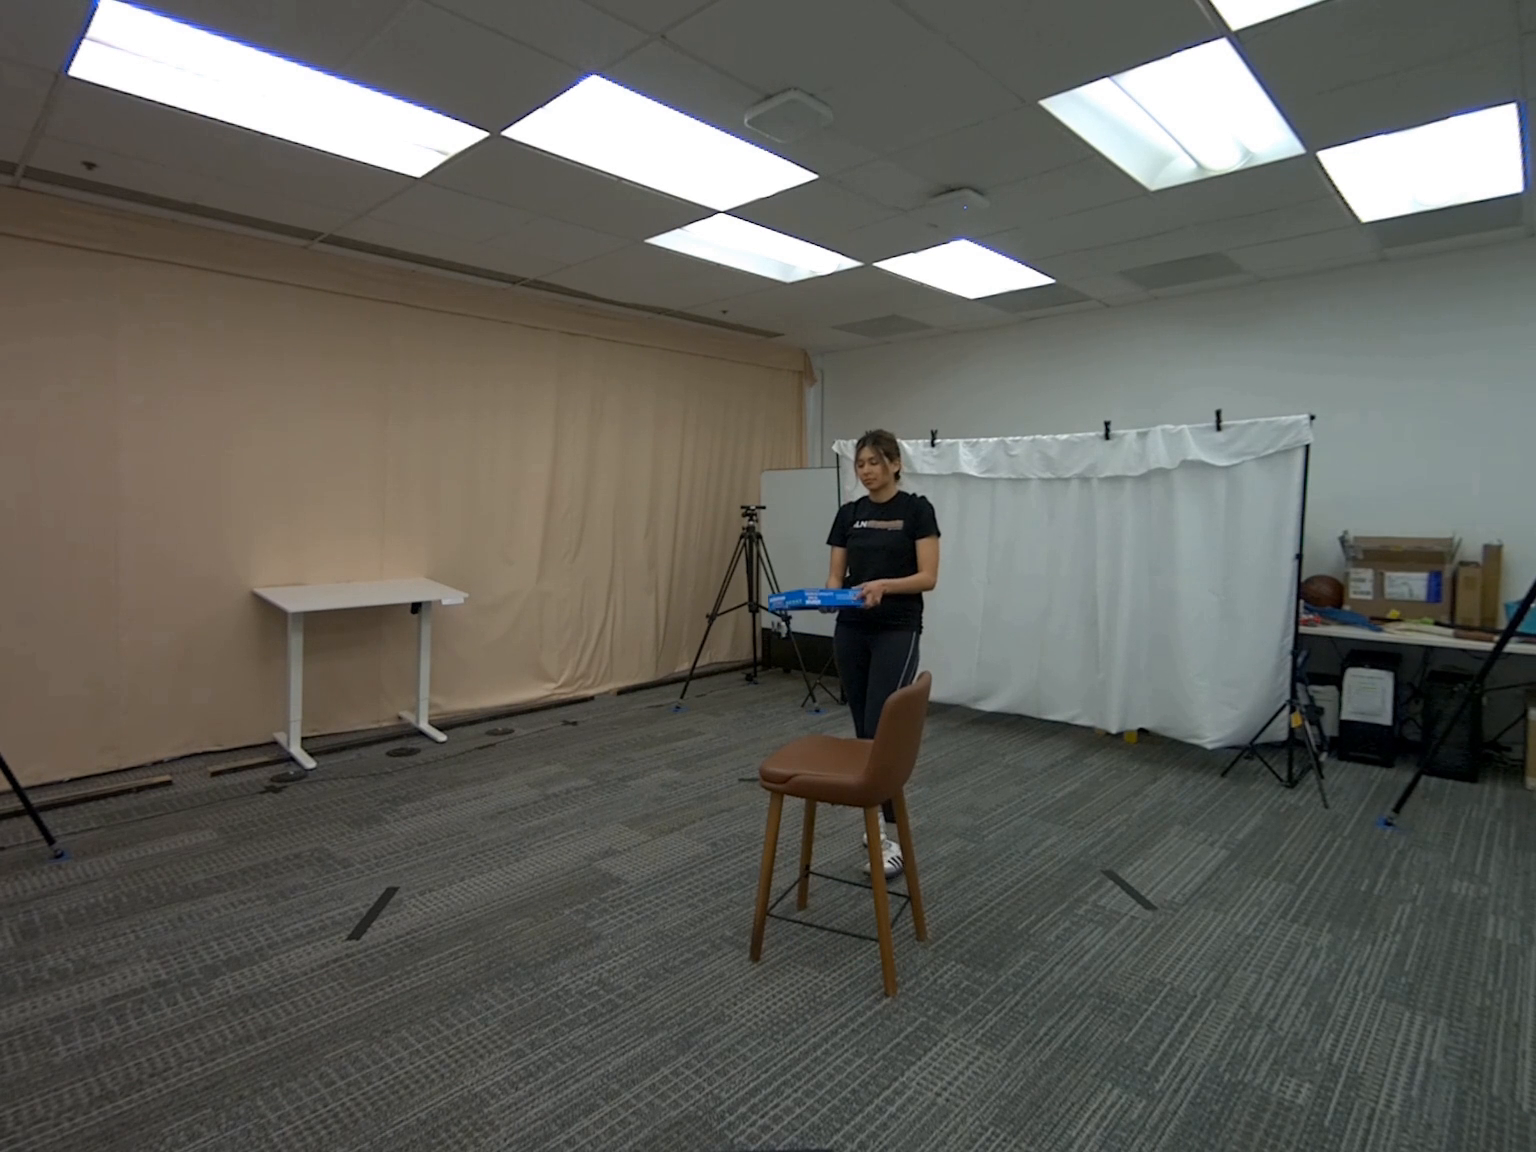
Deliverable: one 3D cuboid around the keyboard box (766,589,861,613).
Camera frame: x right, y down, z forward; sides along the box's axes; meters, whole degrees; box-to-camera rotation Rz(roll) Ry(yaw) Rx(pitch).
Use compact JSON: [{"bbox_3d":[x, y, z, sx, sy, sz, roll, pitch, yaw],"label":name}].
[{"bbox_3d":[0.202,0.094,3.081,0.181,0.059,0.422,-11,-9,43],"label":"keyboard box"}]
